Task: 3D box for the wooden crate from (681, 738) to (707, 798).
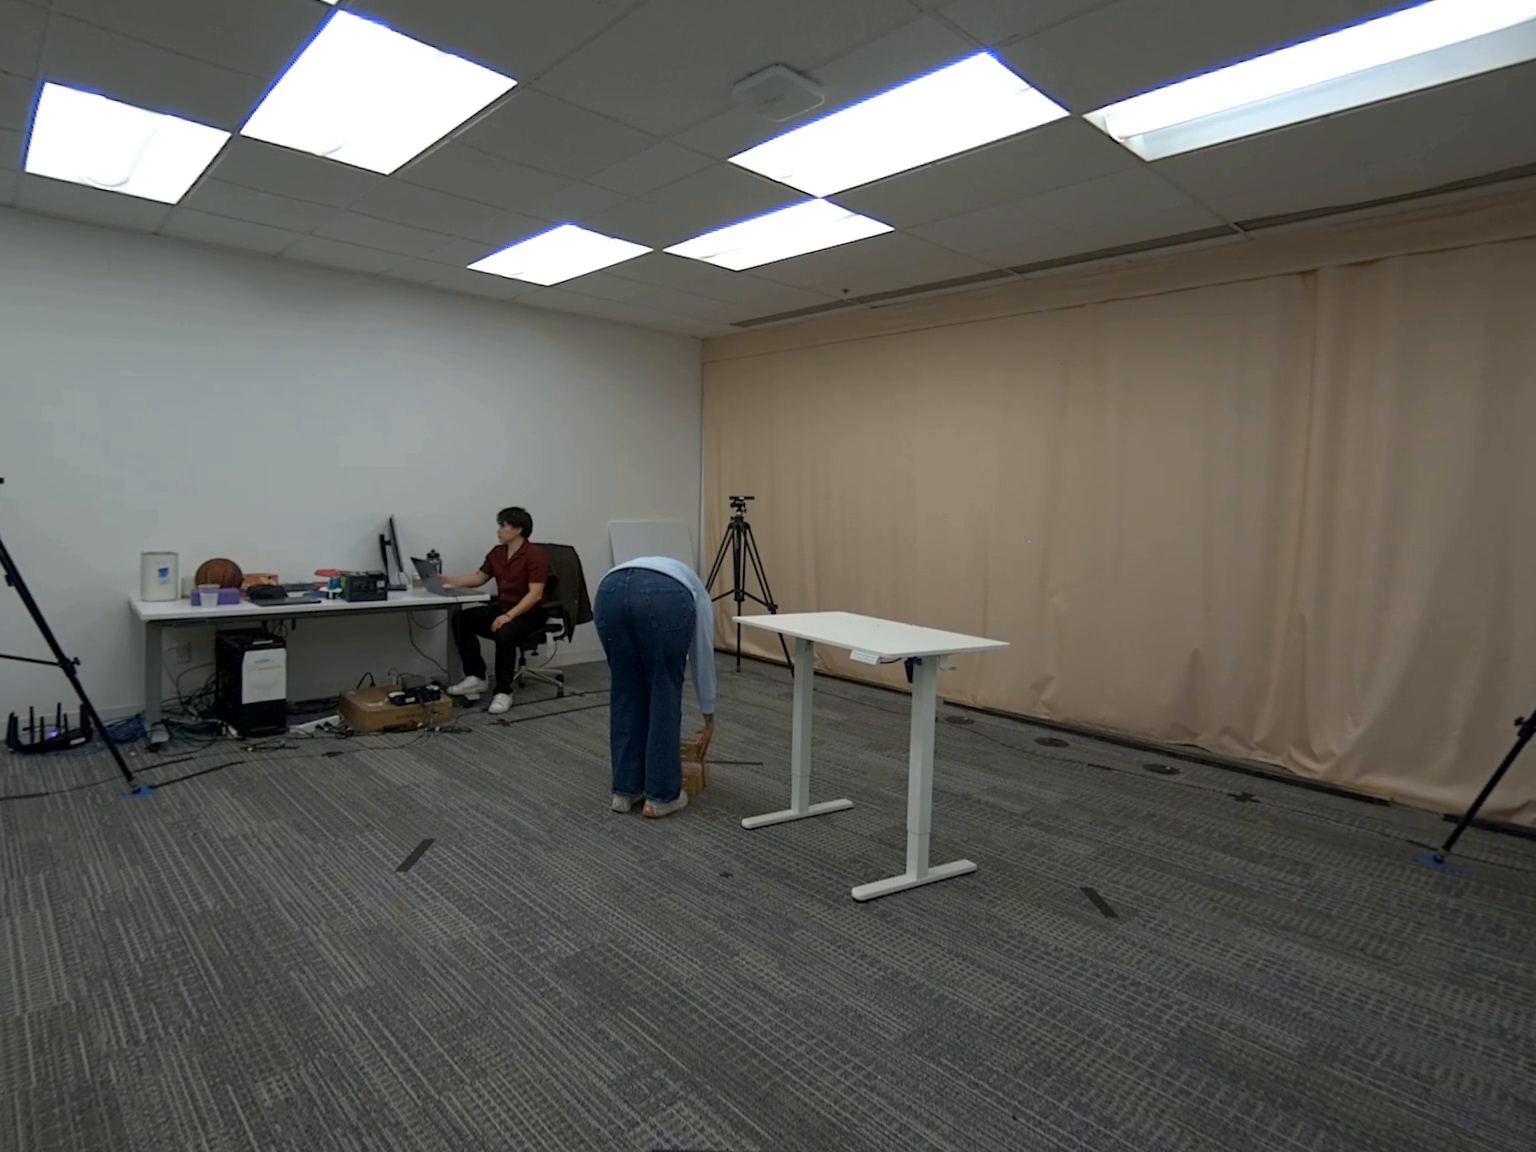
[{"bbox_3d":[-0.471,0.883,4.076,0.327,0.272,0.300,2,4,9],"label":"wooden crate"}]
